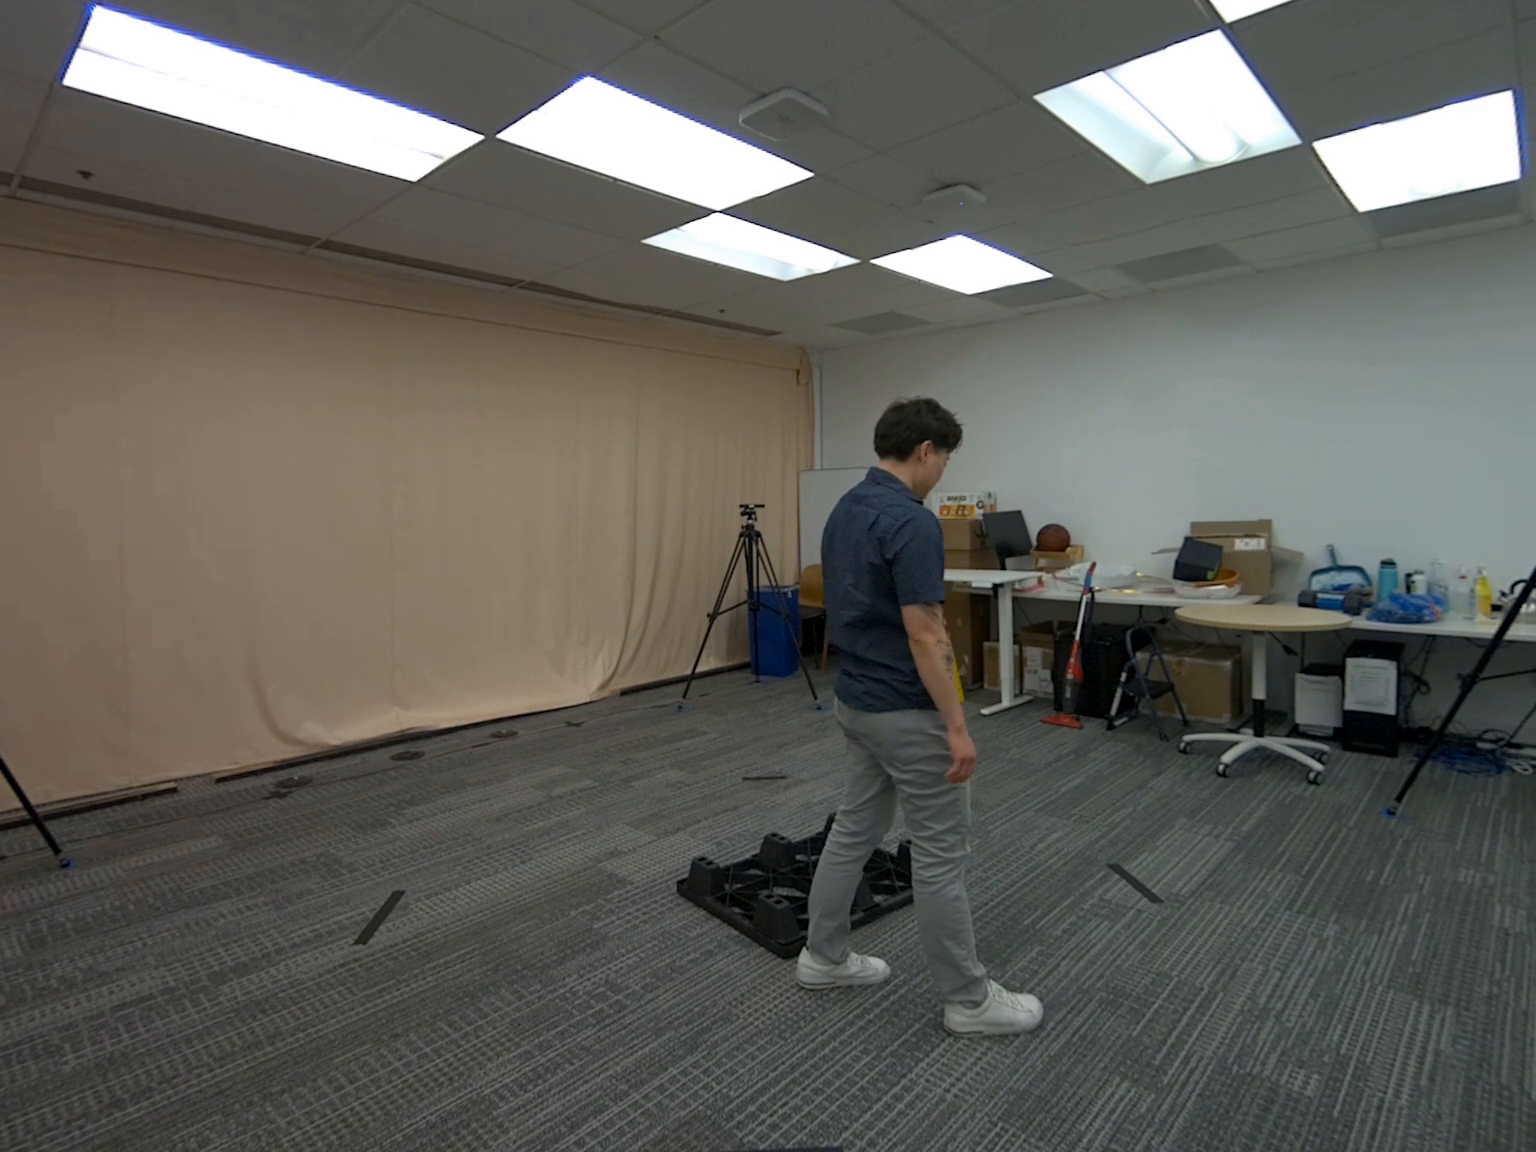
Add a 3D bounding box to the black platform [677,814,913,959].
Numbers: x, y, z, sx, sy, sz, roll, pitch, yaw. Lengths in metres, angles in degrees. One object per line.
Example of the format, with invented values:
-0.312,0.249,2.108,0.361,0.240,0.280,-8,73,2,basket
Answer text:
0.162,1.066,3.029,0.782,0.143,0.625,-5,6,-39,black platform
